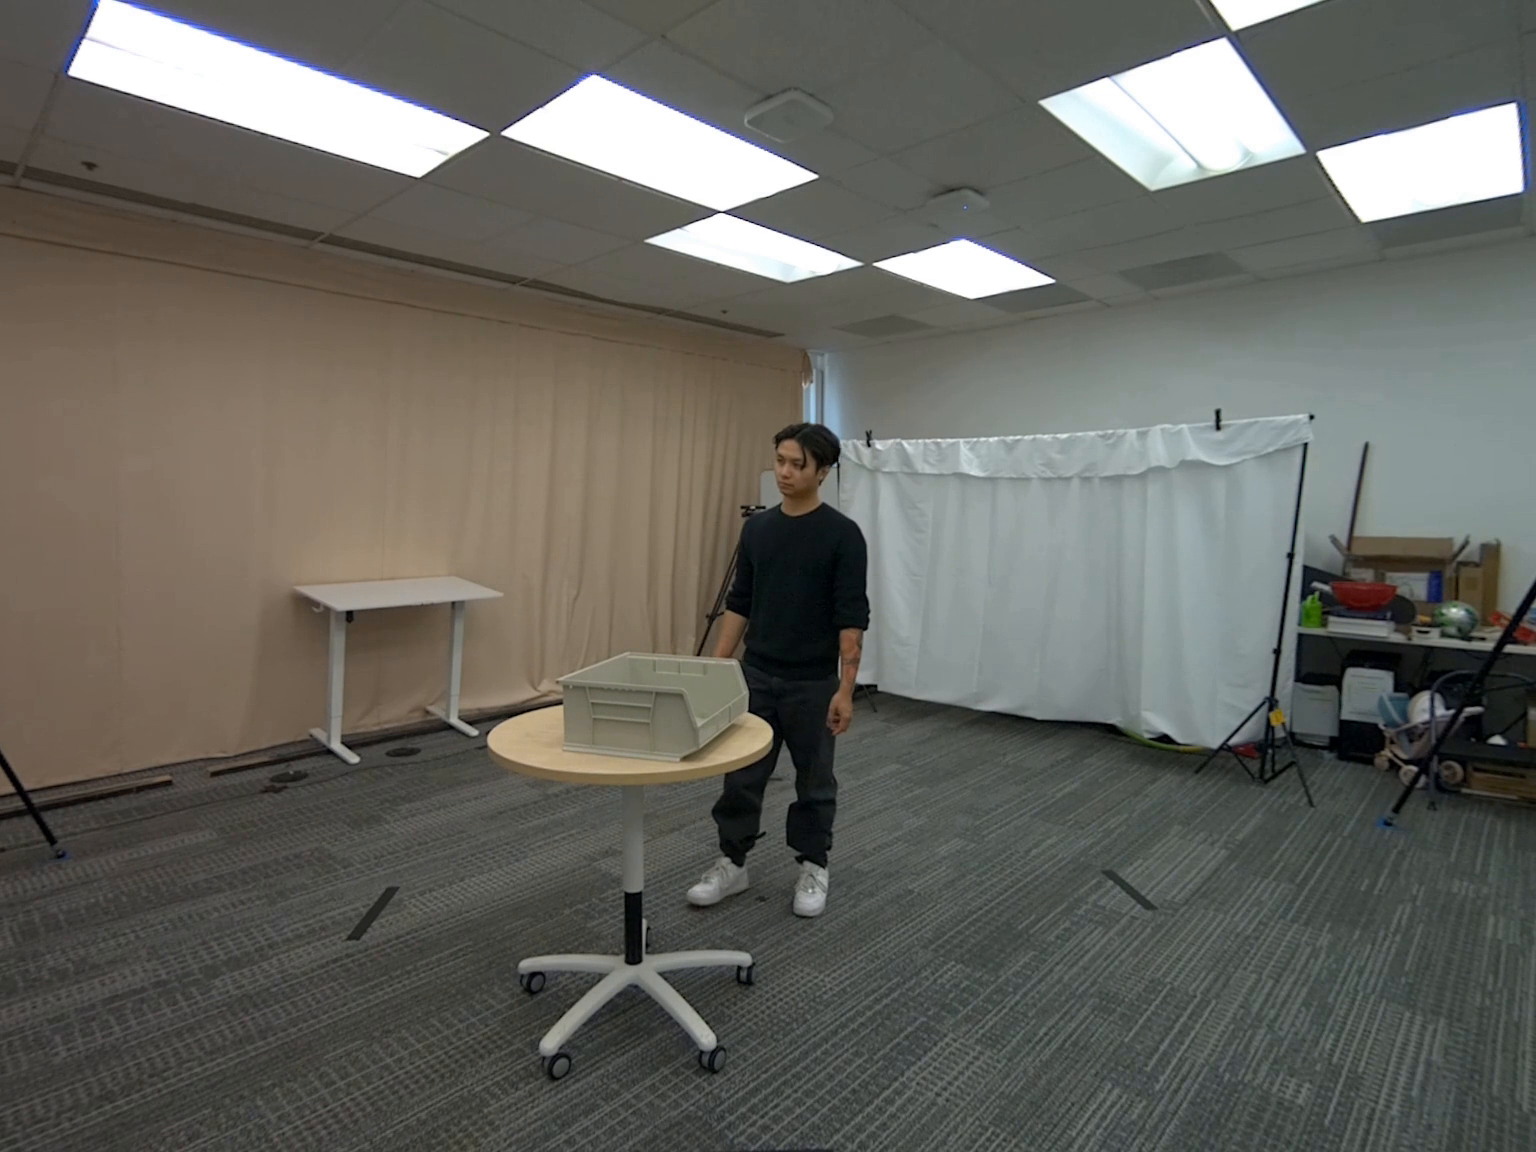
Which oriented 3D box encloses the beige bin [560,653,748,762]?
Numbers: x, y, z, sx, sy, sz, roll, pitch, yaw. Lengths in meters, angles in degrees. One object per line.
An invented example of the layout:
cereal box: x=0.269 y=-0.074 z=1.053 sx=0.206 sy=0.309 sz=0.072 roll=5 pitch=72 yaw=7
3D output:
beige bin: x=-0.291 y=0.339 z=2.224 sx=0.384 sy=0.188 sz=0.415 roll=0 pitch=4 yaw=17
